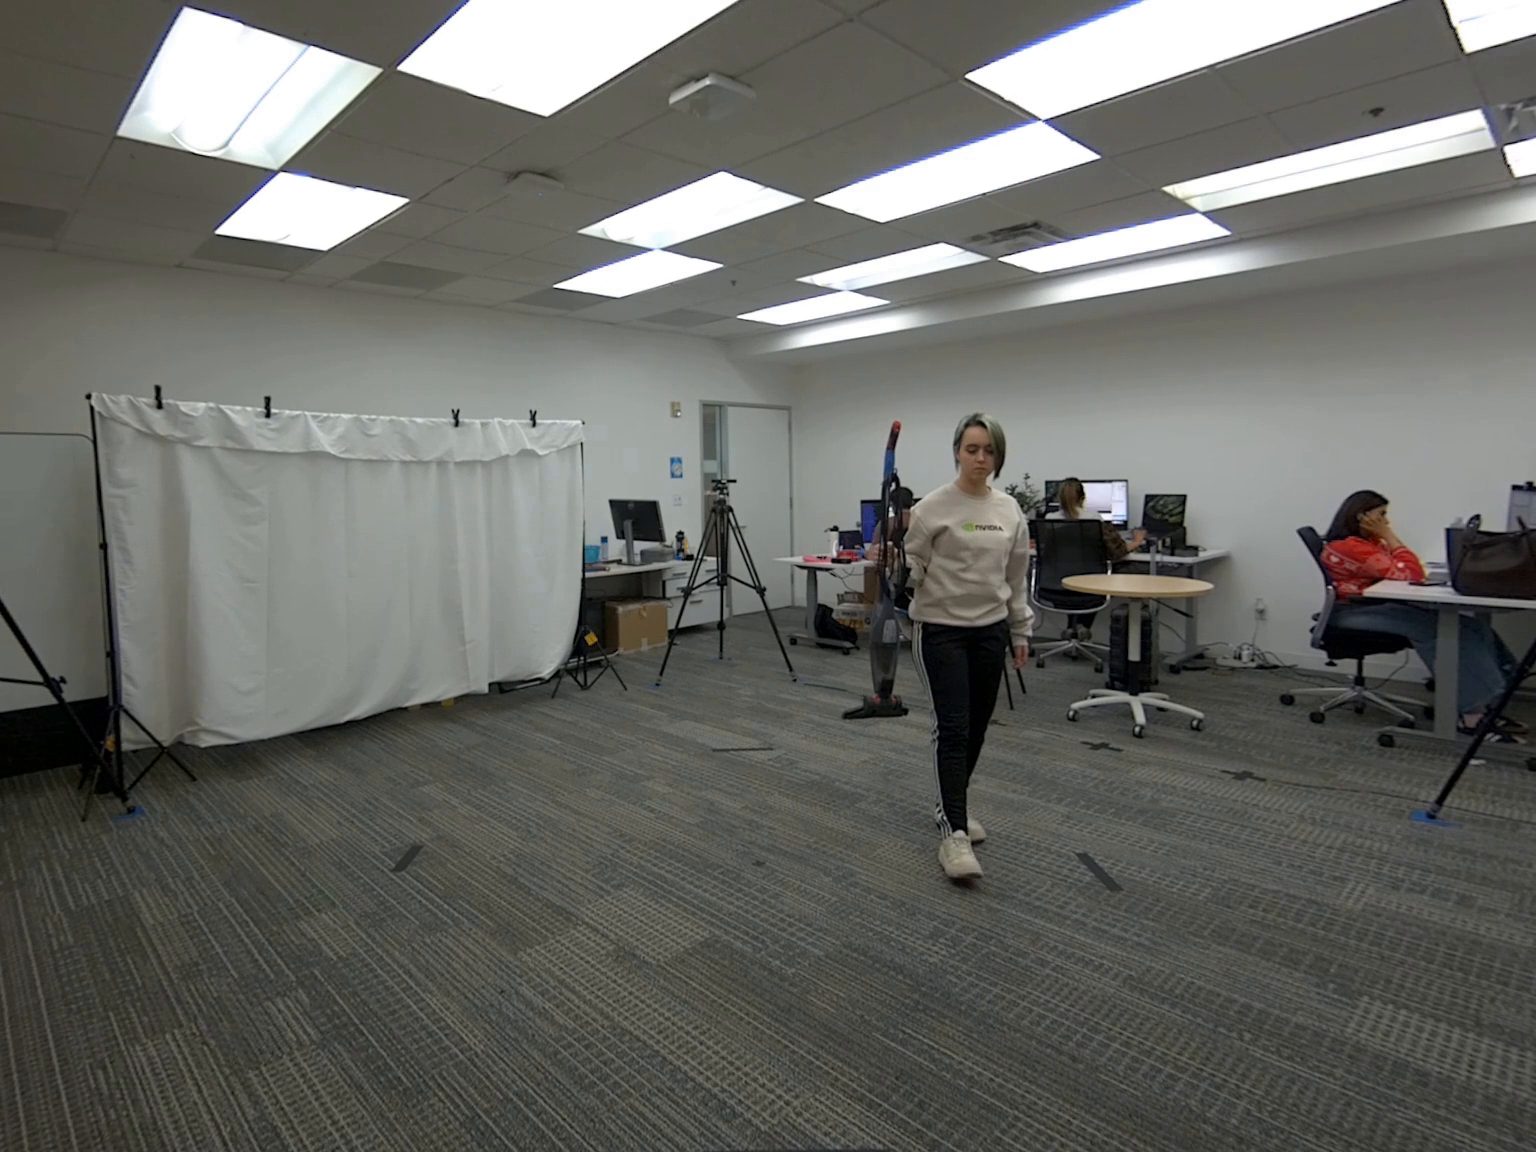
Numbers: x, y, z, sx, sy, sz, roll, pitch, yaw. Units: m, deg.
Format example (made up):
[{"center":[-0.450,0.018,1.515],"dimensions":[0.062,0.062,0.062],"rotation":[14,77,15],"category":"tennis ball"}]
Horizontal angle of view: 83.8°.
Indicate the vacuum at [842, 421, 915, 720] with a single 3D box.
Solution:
[{"center":[0.421,-0.013,3.060],"dimensions":[0.249,1.042,0.147],"rotation":[0,8,-15],"category":"vacuum"}]
